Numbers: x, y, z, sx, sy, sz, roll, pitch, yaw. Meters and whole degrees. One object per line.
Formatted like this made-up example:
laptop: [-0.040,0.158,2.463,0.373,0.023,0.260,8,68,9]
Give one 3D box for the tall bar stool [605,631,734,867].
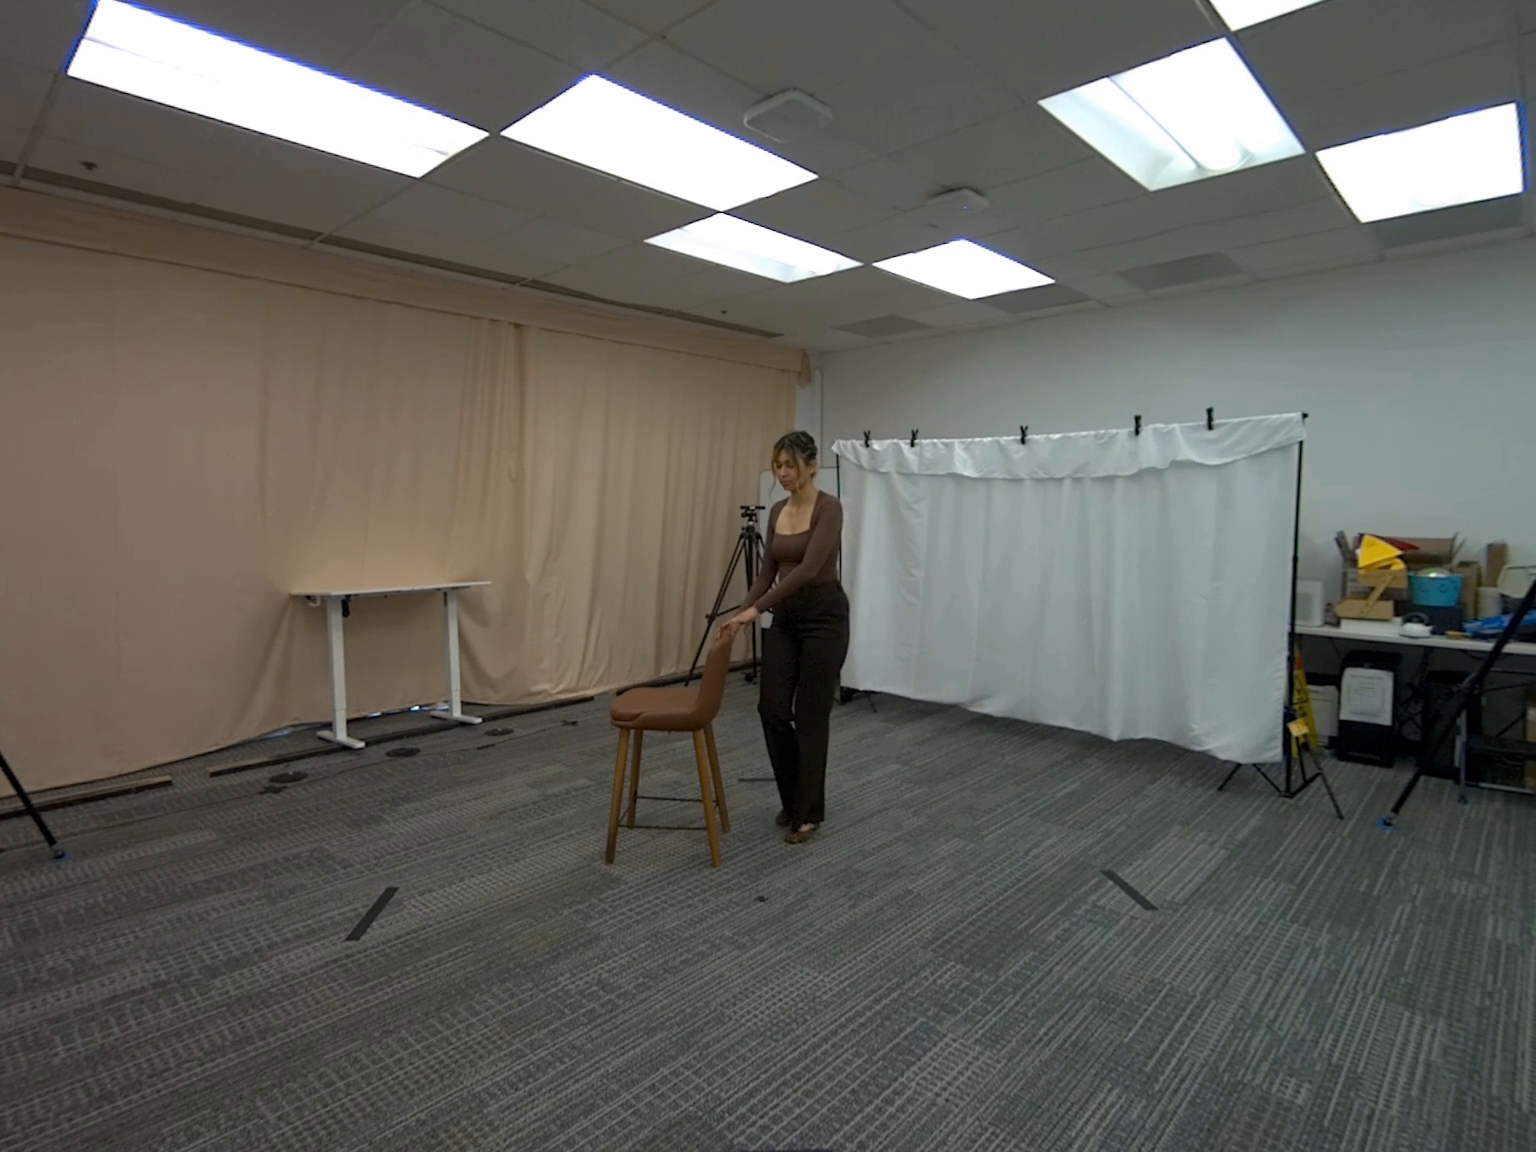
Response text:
tall bar stool: [-0.390,0.671,3.440,0.472,0.888,0.453,2,4,8]
